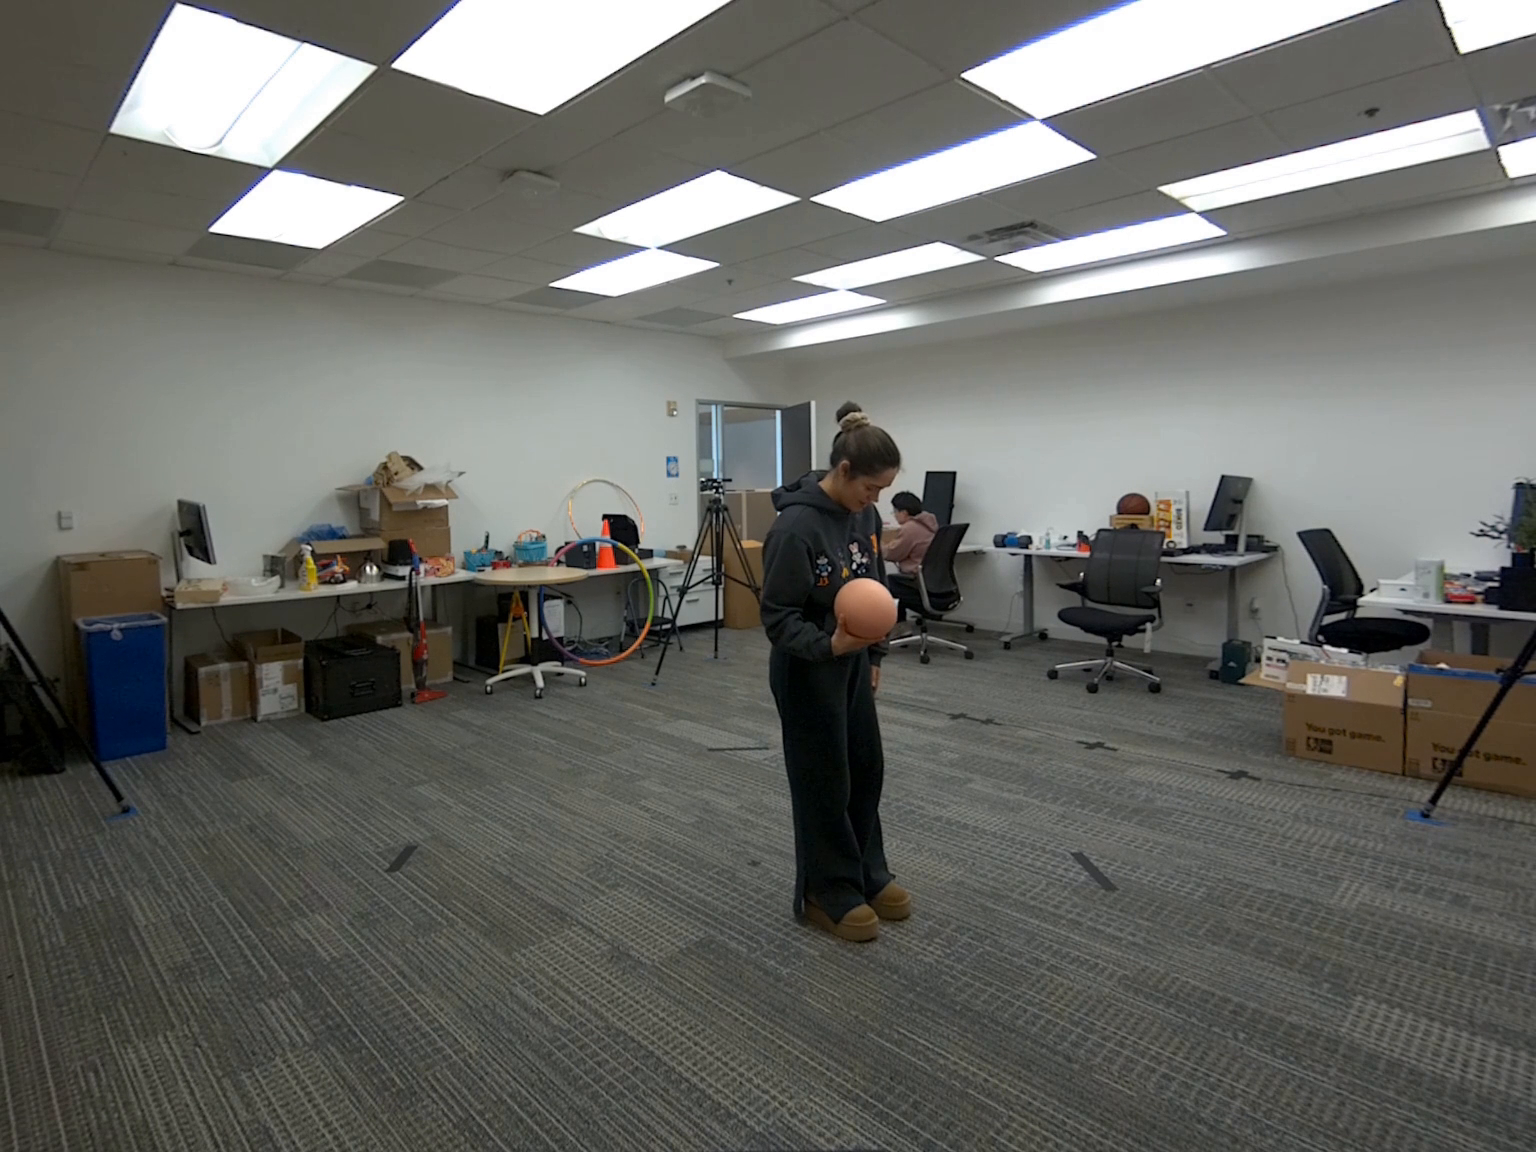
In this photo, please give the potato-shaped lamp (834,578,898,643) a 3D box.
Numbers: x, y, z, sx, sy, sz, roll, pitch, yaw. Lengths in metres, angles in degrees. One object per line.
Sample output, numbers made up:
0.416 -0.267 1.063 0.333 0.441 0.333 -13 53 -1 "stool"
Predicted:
0.291 0.099 2.340 0.164 0.168 0.202 -41 18 -3 "potato-shaped lamp"
